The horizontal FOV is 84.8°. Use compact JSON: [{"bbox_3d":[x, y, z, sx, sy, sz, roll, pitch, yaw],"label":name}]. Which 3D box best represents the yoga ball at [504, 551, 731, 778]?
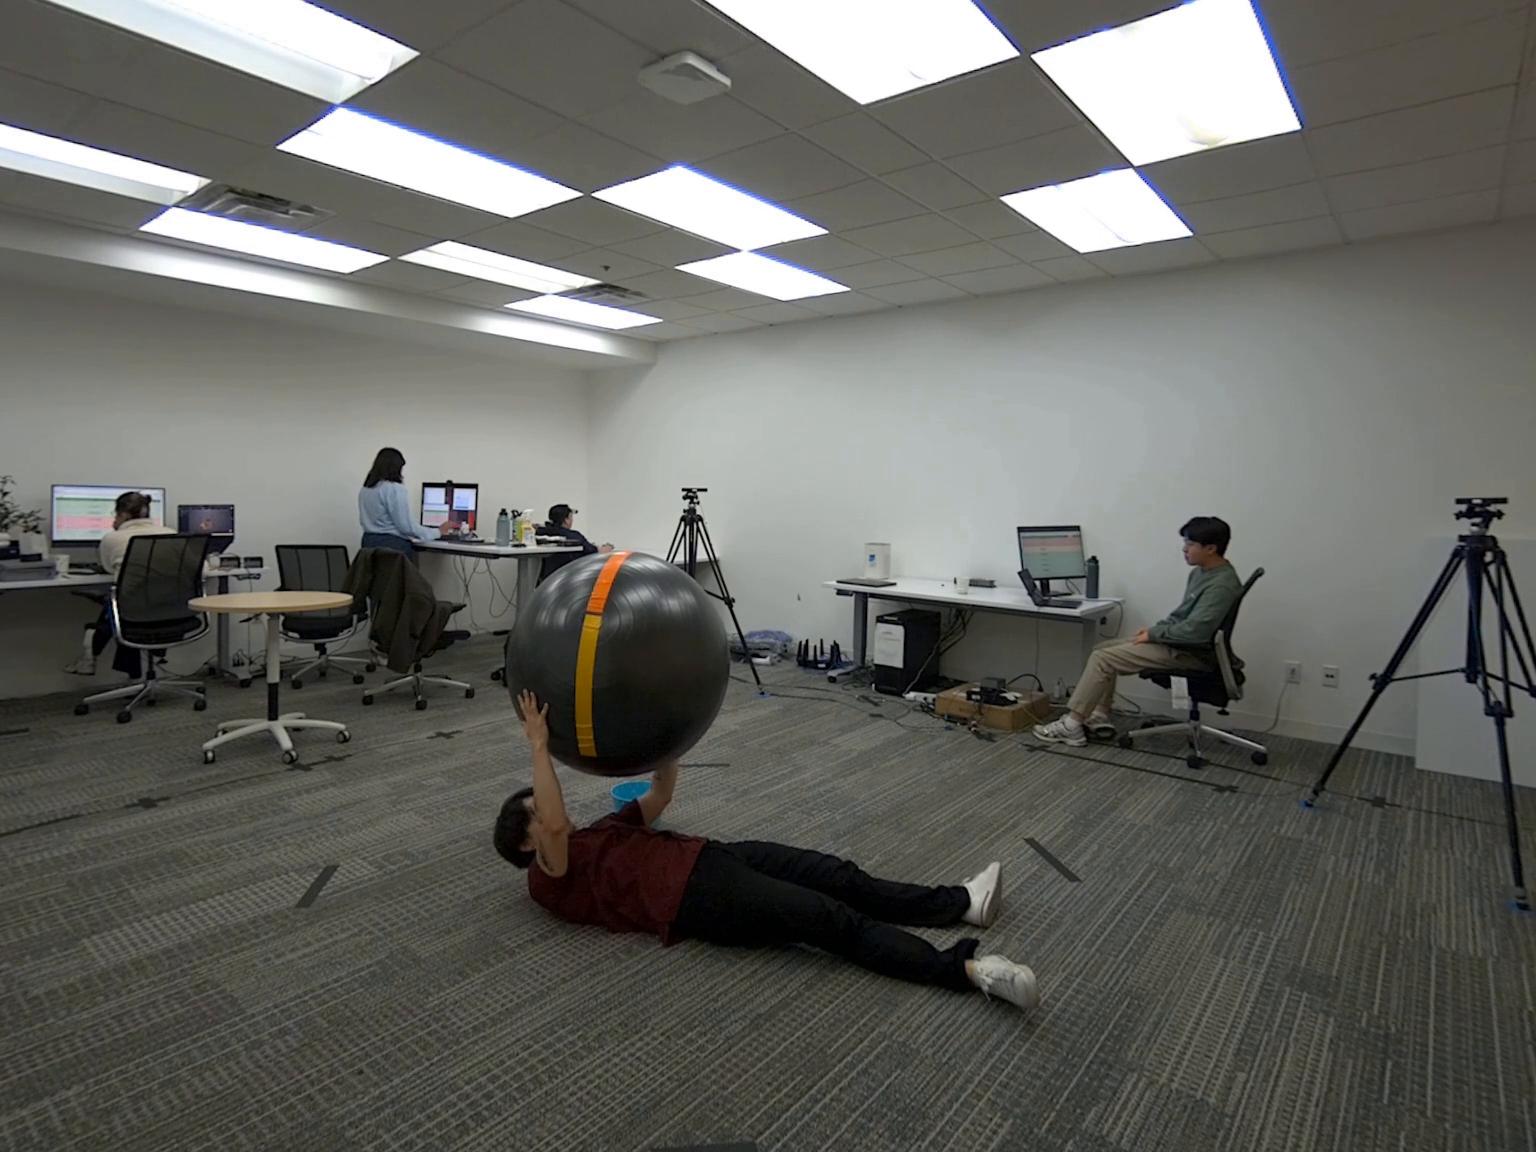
[{"bbox_3d":[-0.515,0.297,2.913,0.757,0.755,0.762,1,4,-2],"label":"yoga ball"}]
